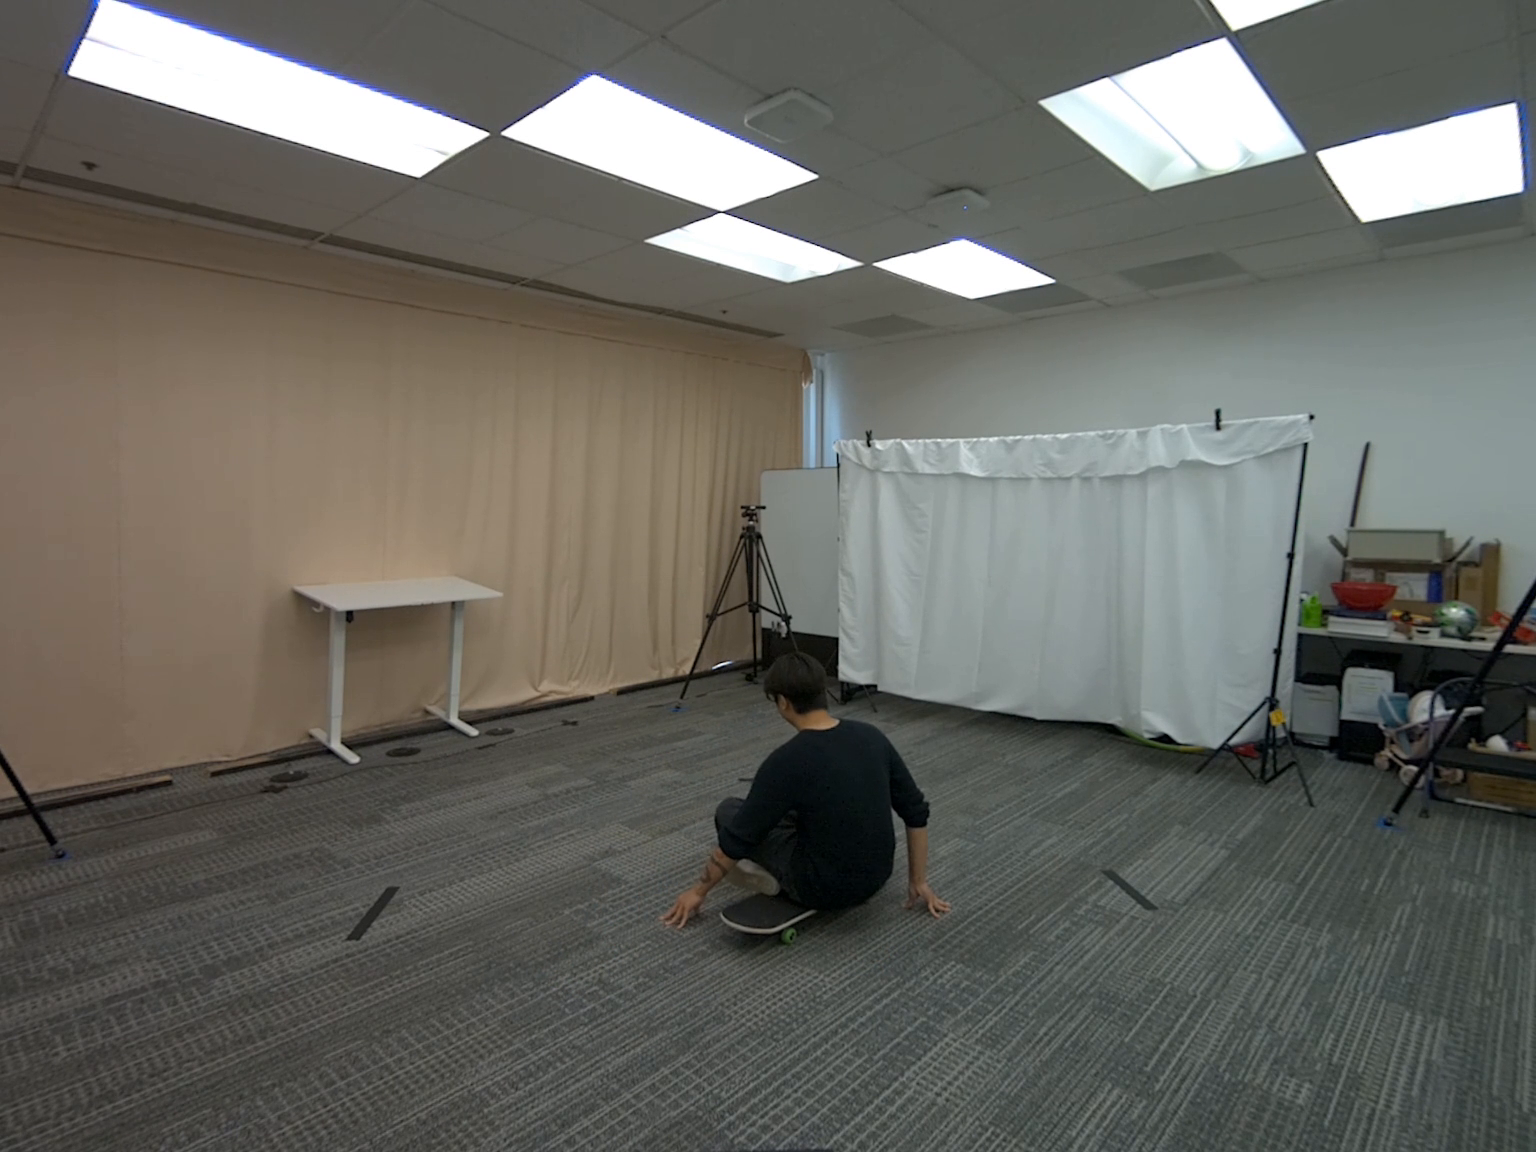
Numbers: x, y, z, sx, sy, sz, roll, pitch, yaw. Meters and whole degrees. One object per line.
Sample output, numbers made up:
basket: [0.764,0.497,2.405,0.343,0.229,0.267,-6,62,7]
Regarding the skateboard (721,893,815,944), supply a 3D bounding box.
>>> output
skateboard: [0.125,1.120,2.864,0.200,0.110,0.761,6,6,42]
